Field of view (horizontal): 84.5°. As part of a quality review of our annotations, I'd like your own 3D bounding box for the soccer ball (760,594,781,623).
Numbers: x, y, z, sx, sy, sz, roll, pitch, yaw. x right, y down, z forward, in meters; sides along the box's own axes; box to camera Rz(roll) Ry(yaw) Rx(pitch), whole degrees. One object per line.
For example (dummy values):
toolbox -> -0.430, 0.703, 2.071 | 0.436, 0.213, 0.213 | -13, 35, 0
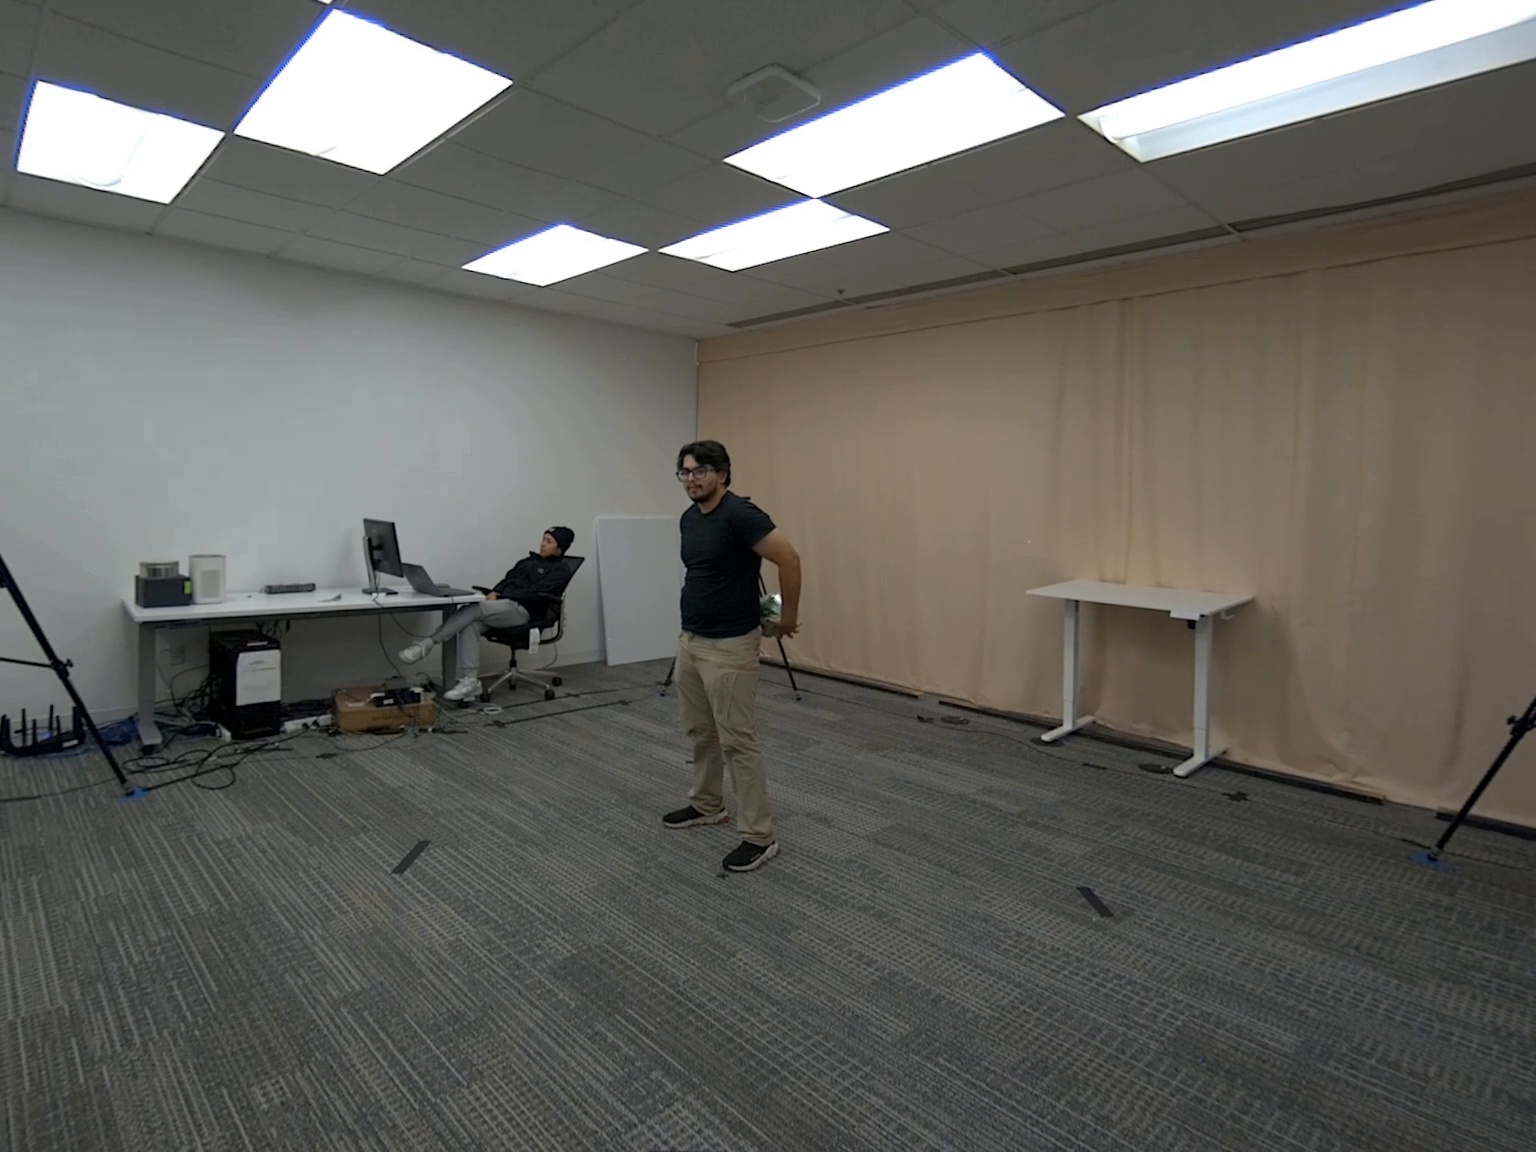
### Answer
soccer ball -> 0.027, 0.162, 3.526 | 0.187, 0.187, 0.188 | 1, 4, -1
